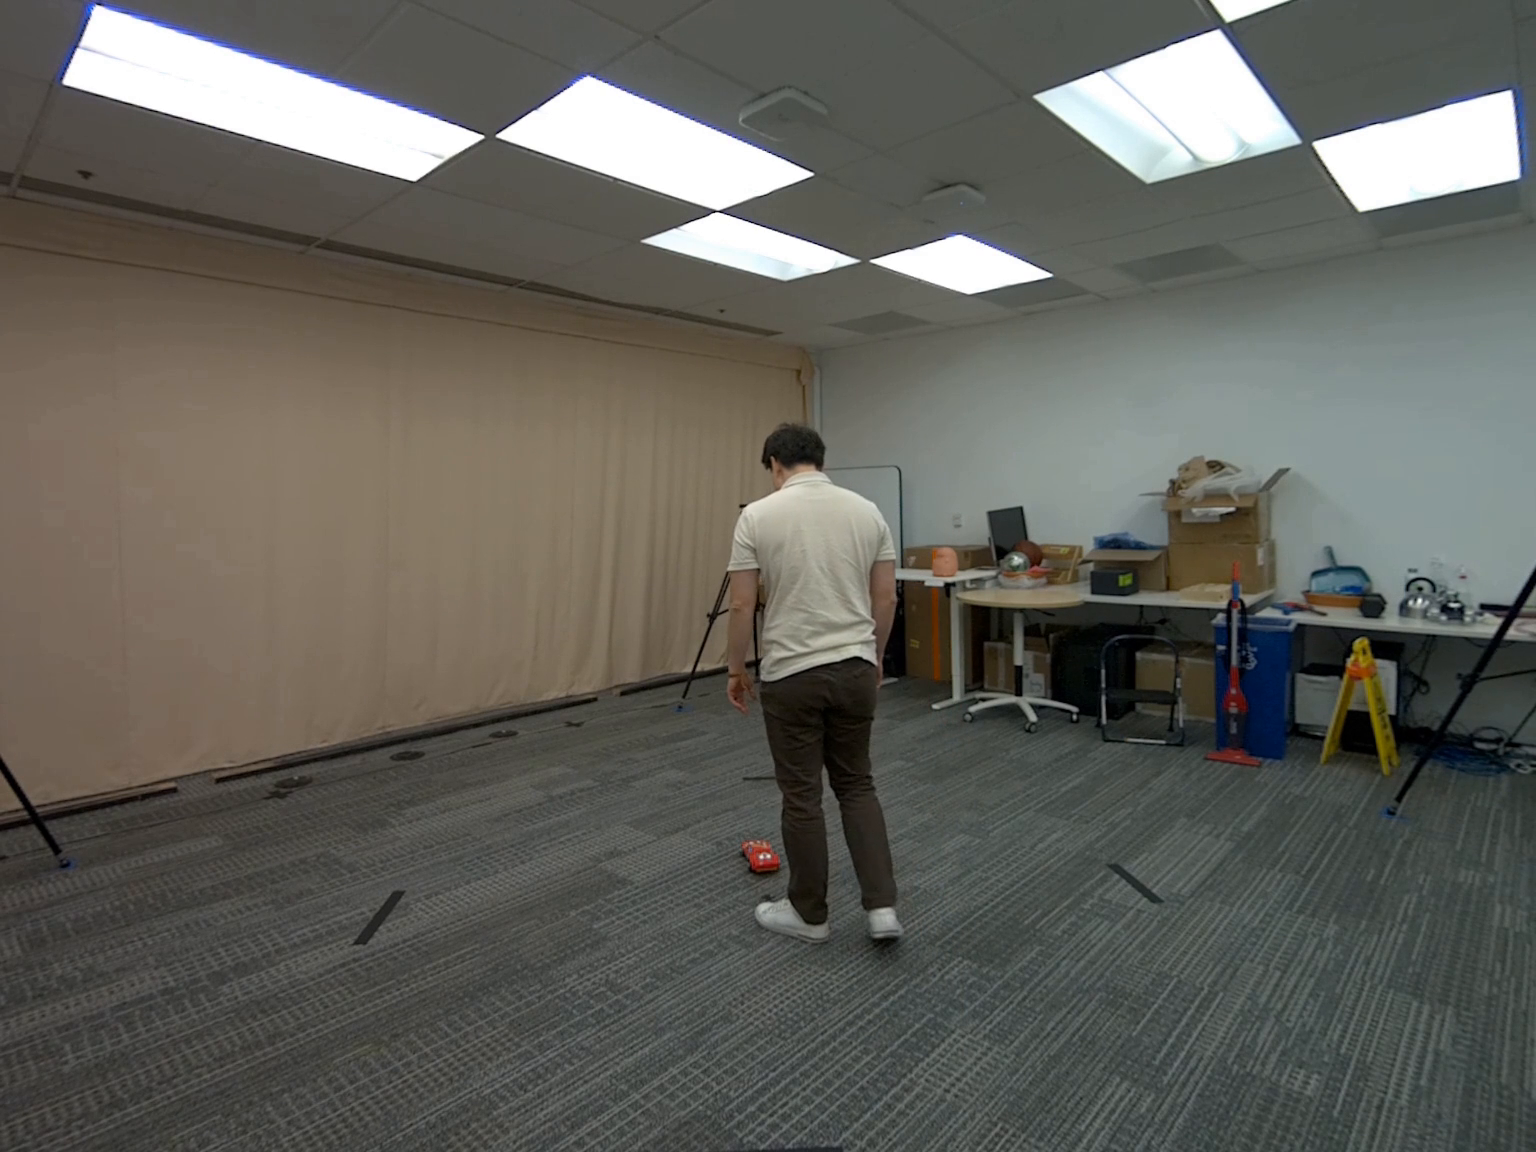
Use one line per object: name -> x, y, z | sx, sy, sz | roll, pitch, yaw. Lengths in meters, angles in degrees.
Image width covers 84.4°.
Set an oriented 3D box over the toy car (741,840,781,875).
toy car -> -0.028, 1.083, 3.253 | 0.129, 0.083, 0.256 | -1, -5, -10
